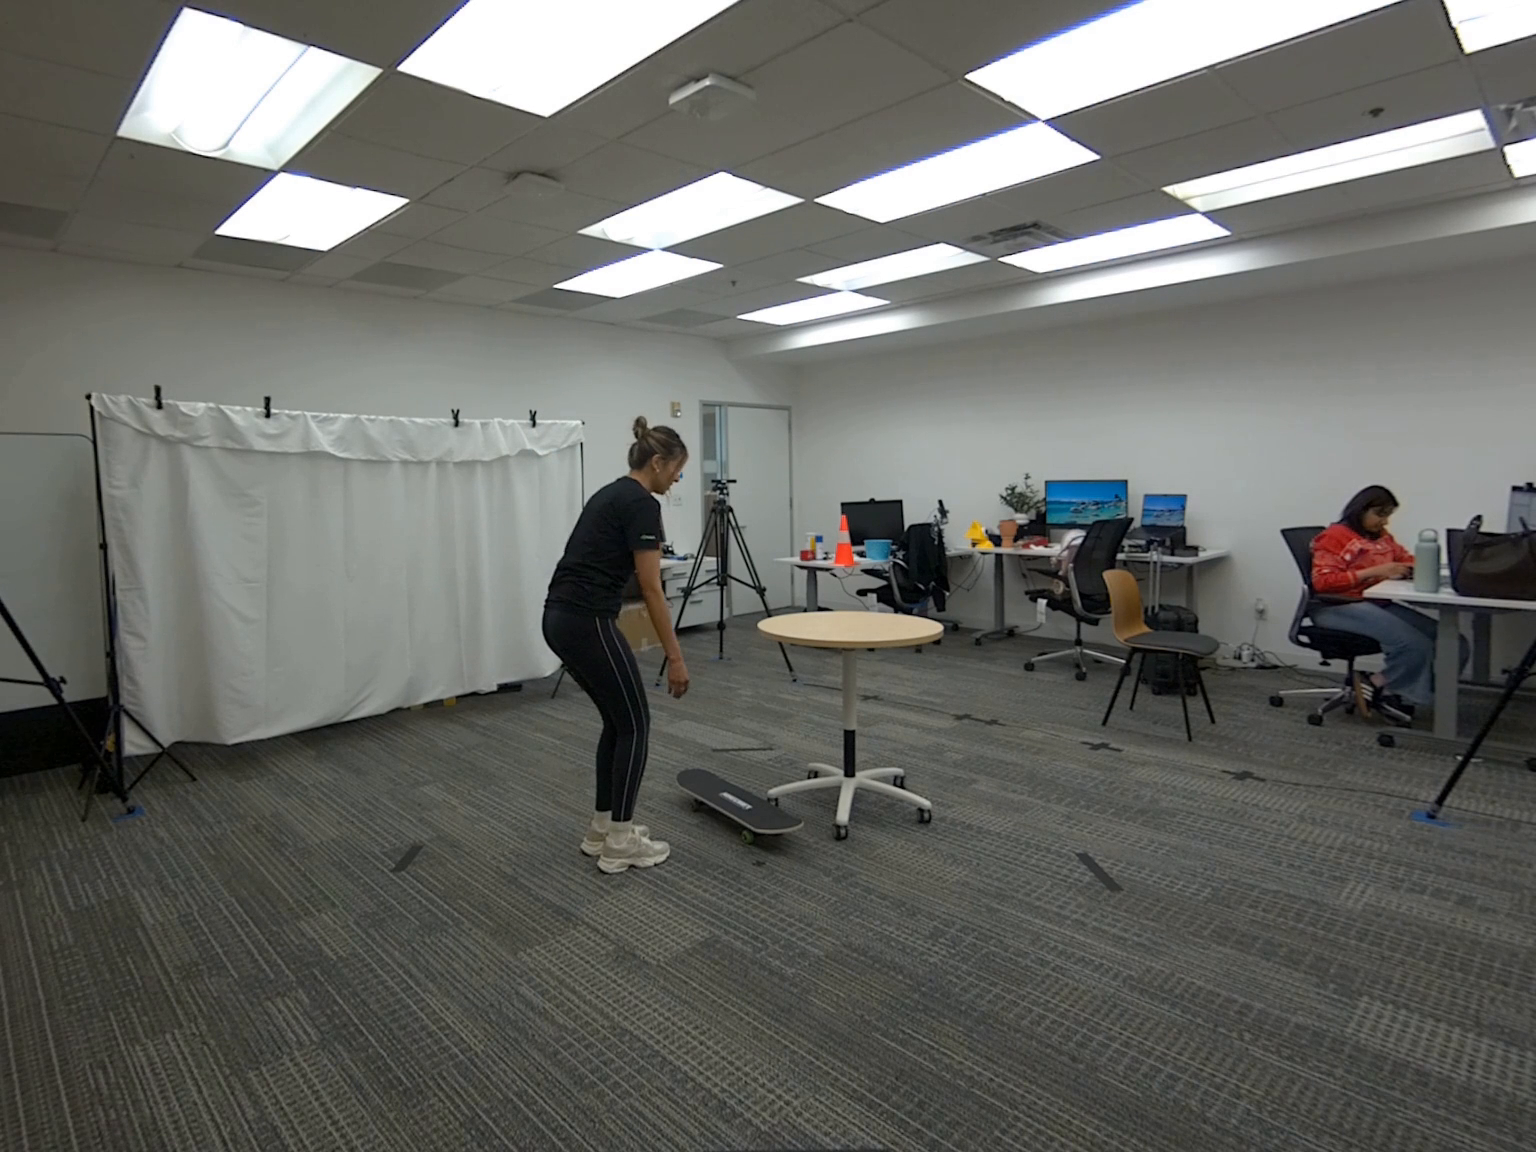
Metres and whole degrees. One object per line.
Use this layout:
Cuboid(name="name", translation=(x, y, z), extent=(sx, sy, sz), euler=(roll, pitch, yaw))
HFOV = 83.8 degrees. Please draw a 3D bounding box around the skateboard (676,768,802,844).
Cuboid(name="skateboard", translation=(-0.126, 0.951, 3.490), extent=(0.189, 0.110, 0.809), euler=(-6, 8, -35))
